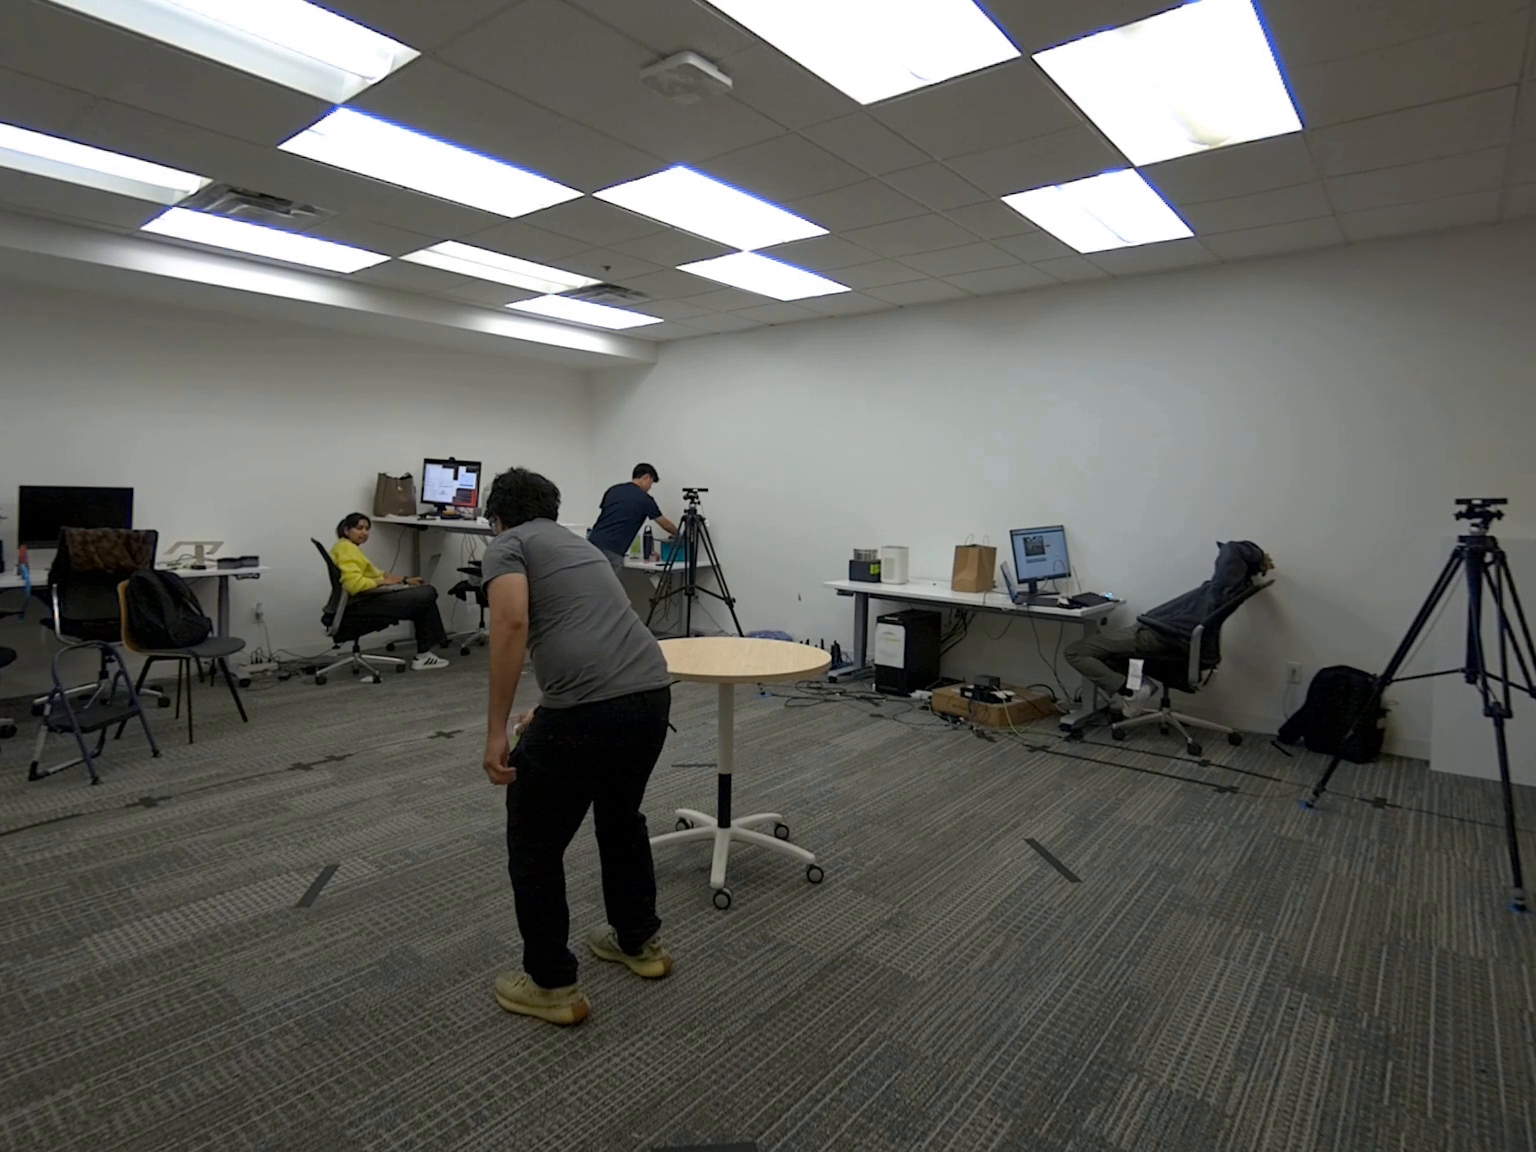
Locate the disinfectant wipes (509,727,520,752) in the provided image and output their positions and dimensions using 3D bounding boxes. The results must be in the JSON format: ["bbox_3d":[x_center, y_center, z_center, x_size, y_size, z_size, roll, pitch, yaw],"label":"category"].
[{"bbox_3d":[-0.799,0.603,2.821,0.118,0.218,0.118,-2,-2,-2],"label":"disinfectant wipes"}]
